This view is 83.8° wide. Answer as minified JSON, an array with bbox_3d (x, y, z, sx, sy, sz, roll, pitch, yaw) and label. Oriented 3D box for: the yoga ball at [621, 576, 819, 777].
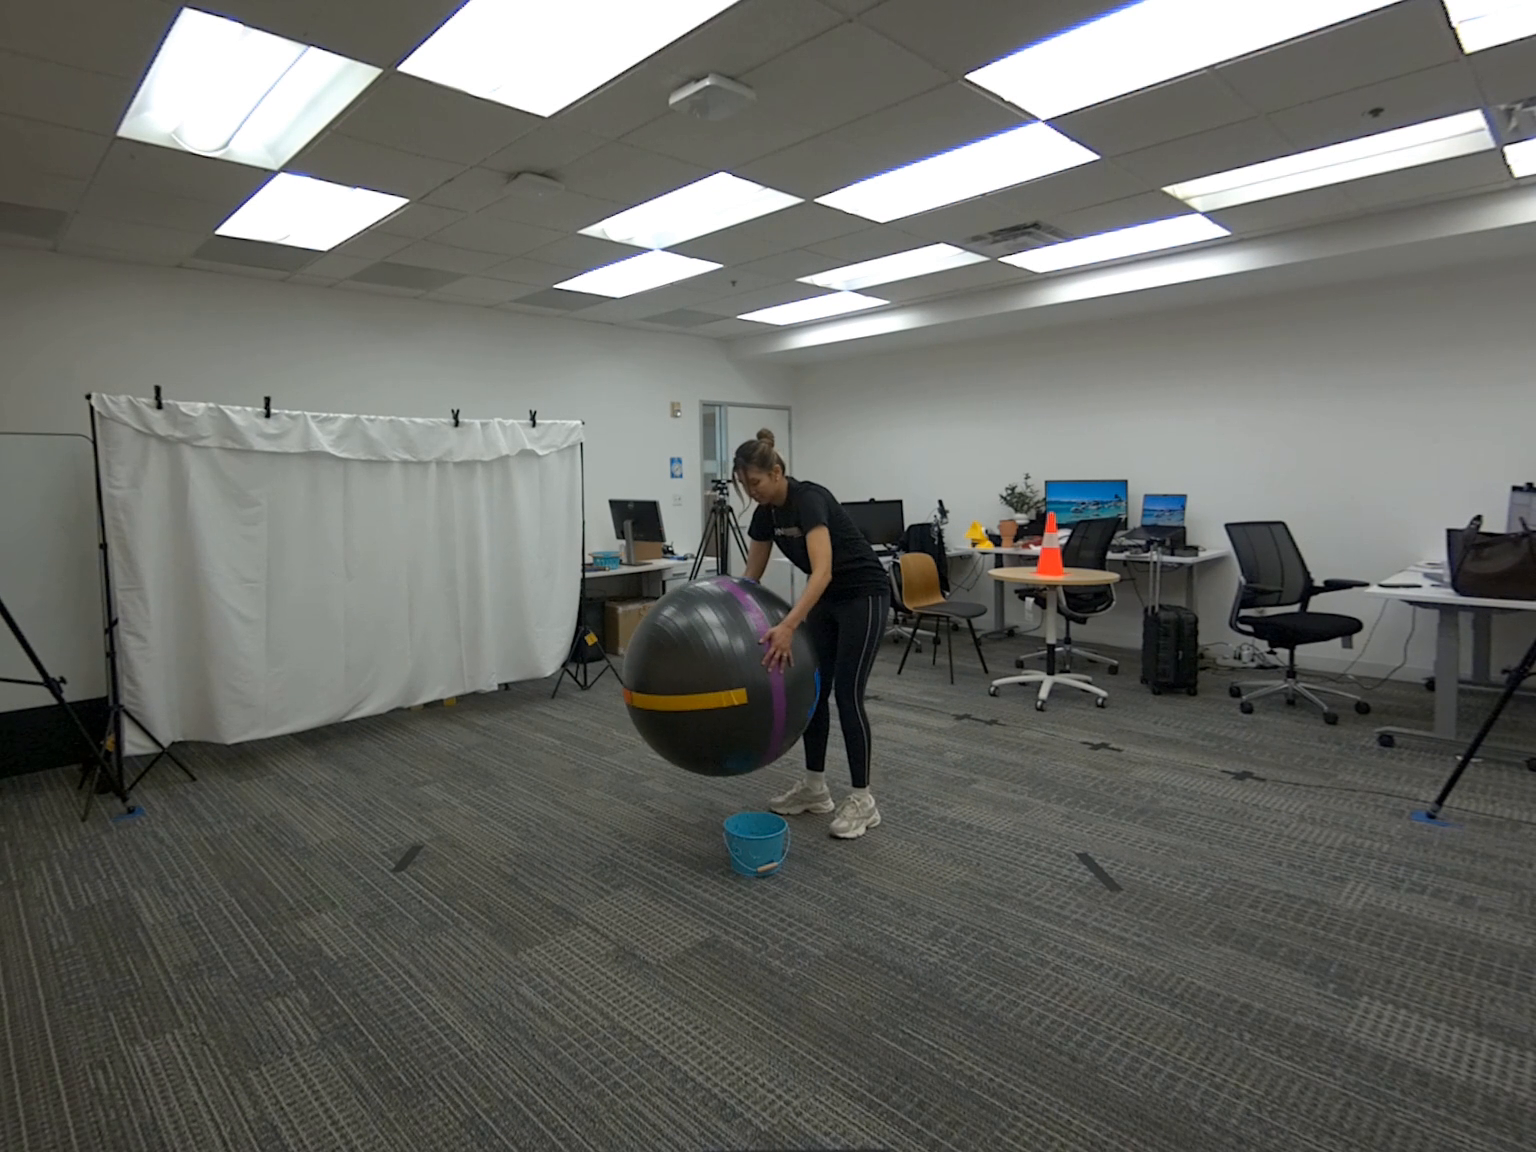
[{"bbox_3d":[-0.184,0.385,3.289,0.757,0.755,0.762,-1,5,-2],"label":"yoga ball"}]
